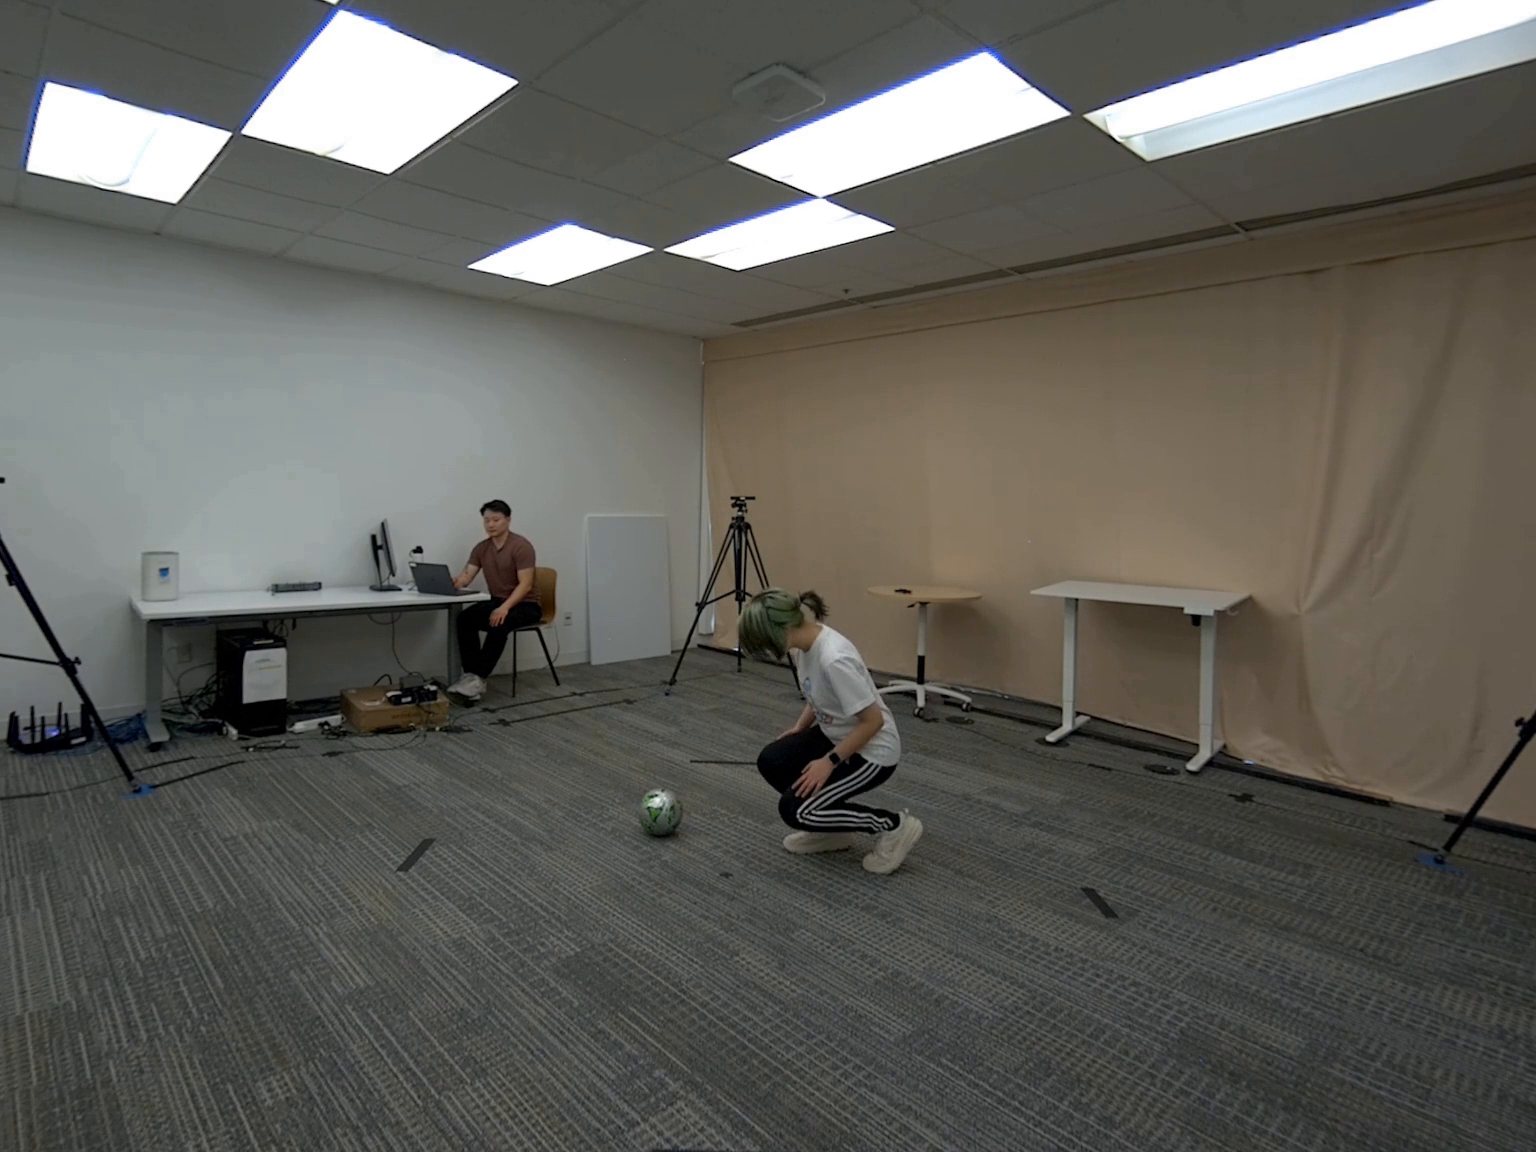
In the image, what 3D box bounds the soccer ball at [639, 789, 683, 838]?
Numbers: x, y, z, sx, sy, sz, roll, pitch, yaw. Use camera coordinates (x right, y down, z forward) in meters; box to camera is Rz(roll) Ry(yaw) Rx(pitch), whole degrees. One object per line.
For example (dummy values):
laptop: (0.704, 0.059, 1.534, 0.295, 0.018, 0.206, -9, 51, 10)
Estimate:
soccer ball: (-0.443, 0.962, 3.466, 0.187, 0.187, 0.188, 1, 4, -1)
